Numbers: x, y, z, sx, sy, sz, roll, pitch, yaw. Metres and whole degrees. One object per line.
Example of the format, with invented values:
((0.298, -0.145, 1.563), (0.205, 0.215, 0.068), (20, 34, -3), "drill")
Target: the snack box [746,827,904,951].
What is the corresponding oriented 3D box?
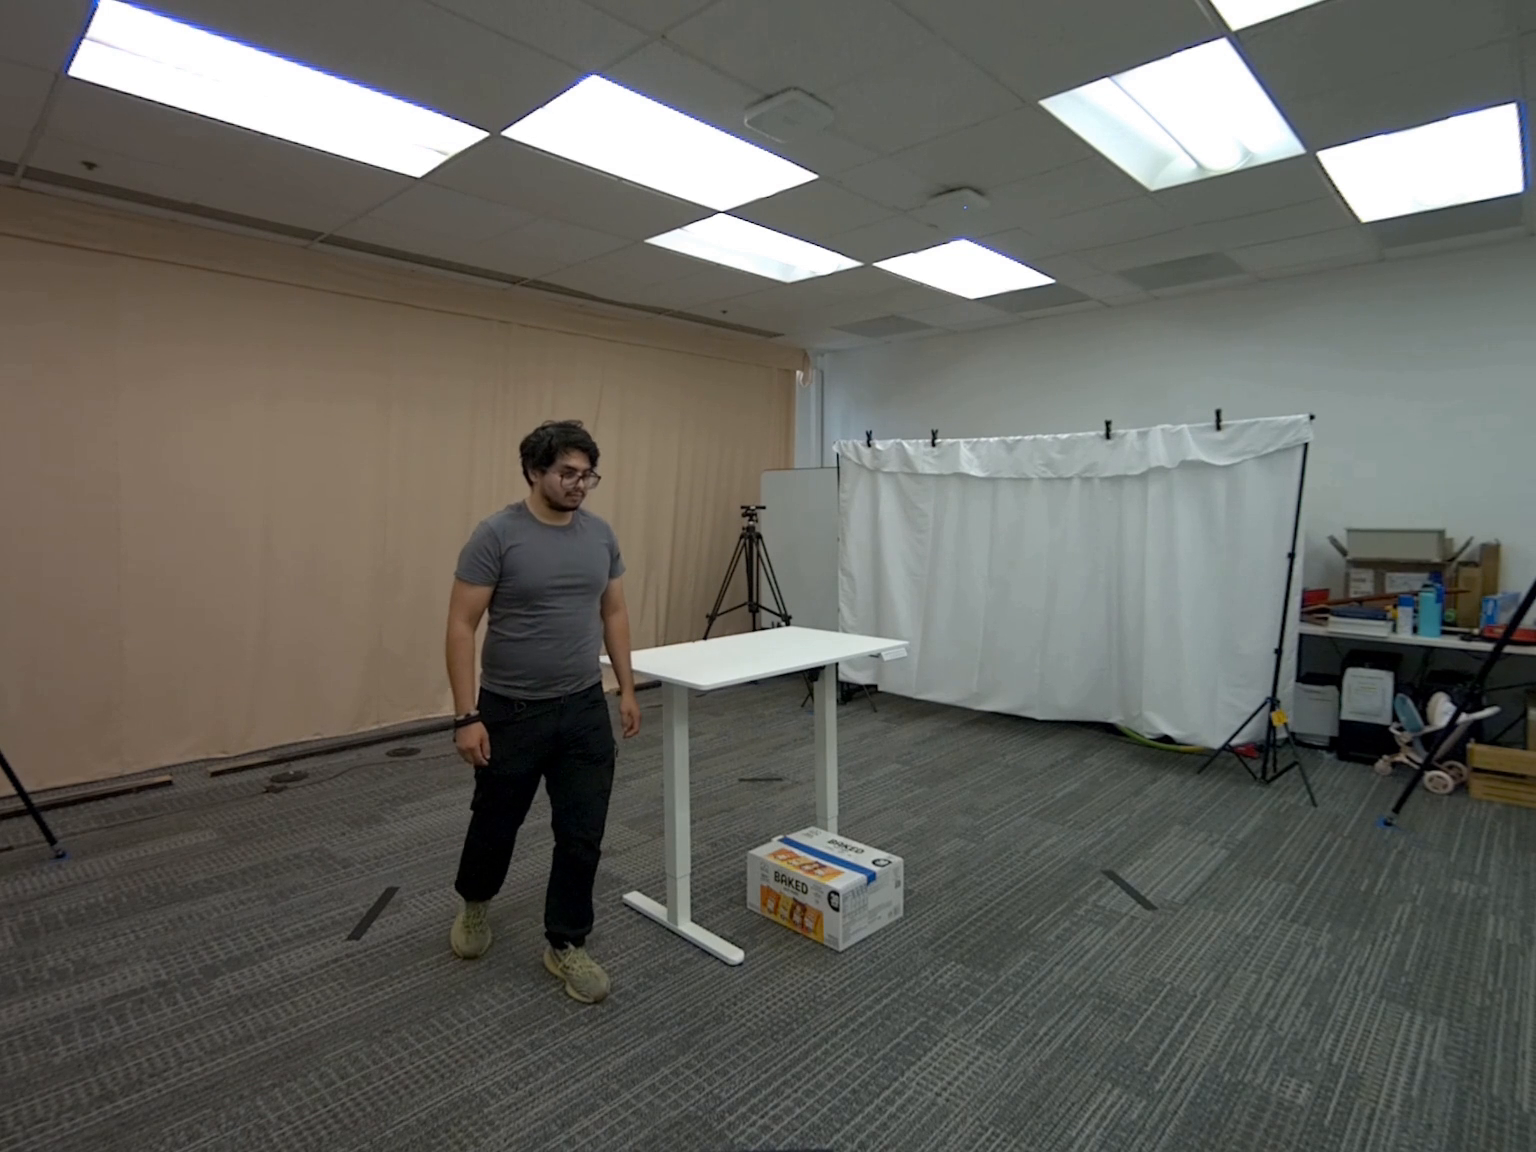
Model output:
((0.197, 1.053, 2.868), (0.330, 0.205, 0.419), (-5, 6, -45), "snack box")
